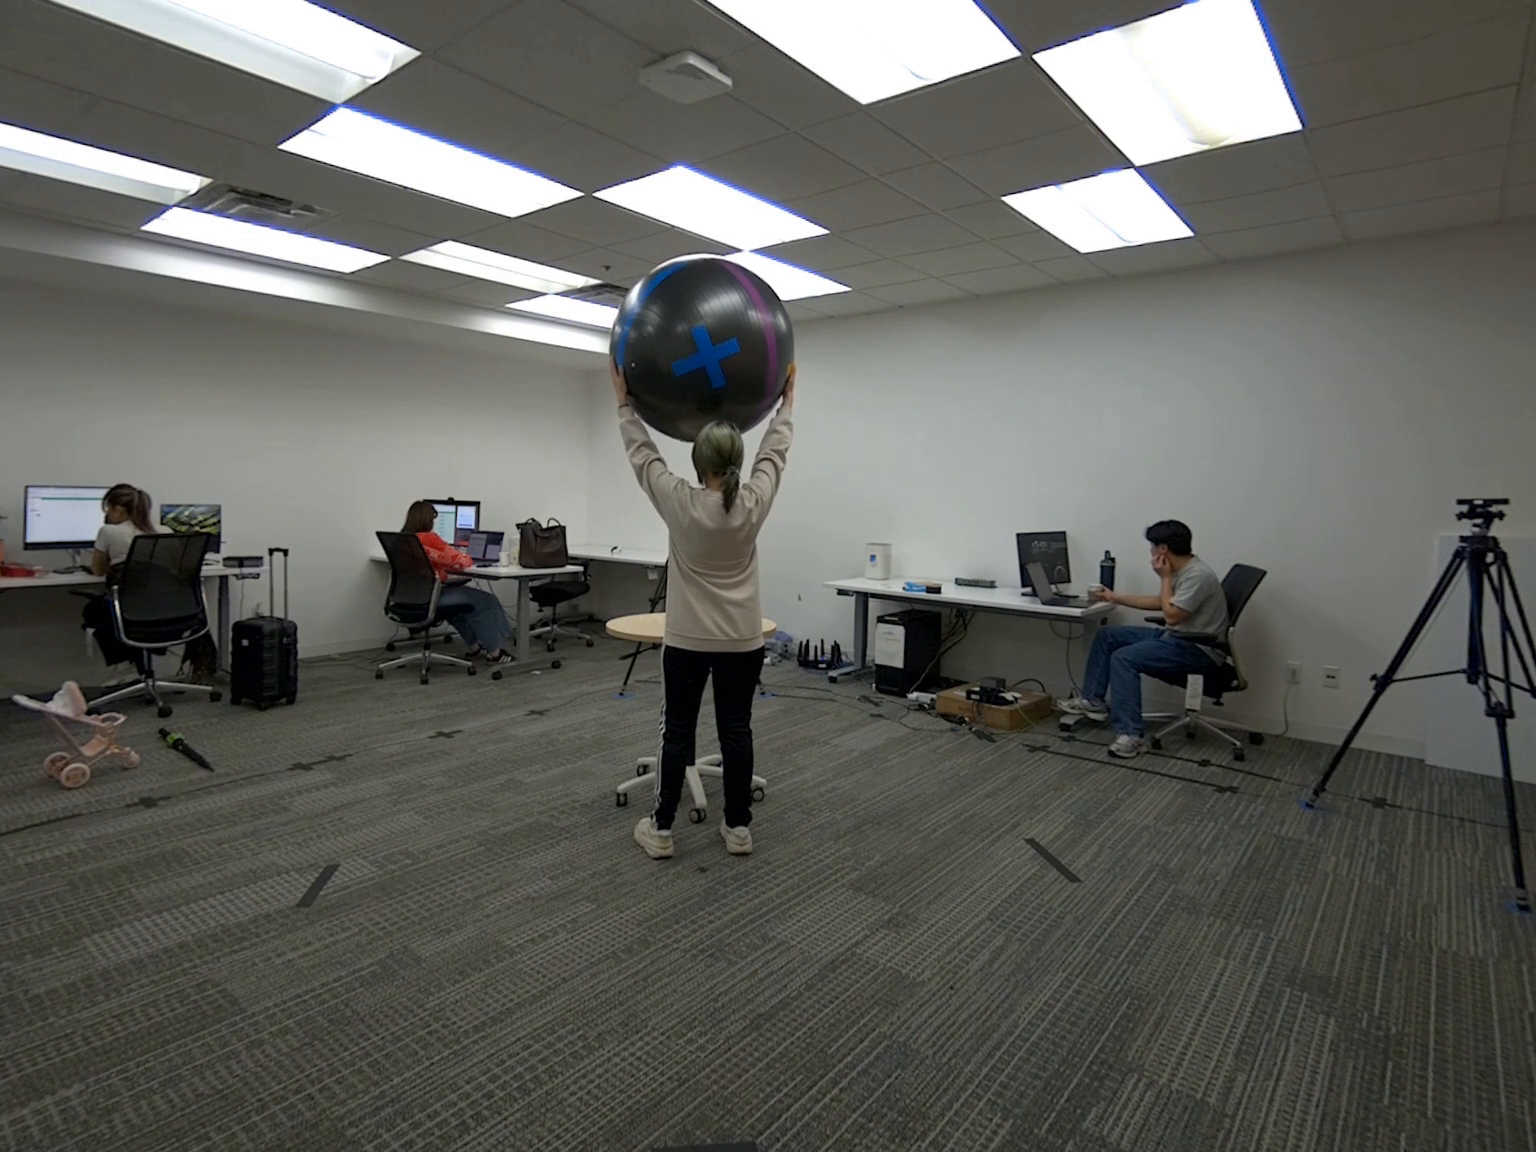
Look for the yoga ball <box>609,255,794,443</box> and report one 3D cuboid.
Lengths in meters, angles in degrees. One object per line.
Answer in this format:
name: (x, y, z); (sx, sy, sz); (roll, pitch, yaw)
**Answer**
yoga ball: (-0.278, -0.920, 3.500); (0.757, 0.756, 0.761); (1, 4, -2)
